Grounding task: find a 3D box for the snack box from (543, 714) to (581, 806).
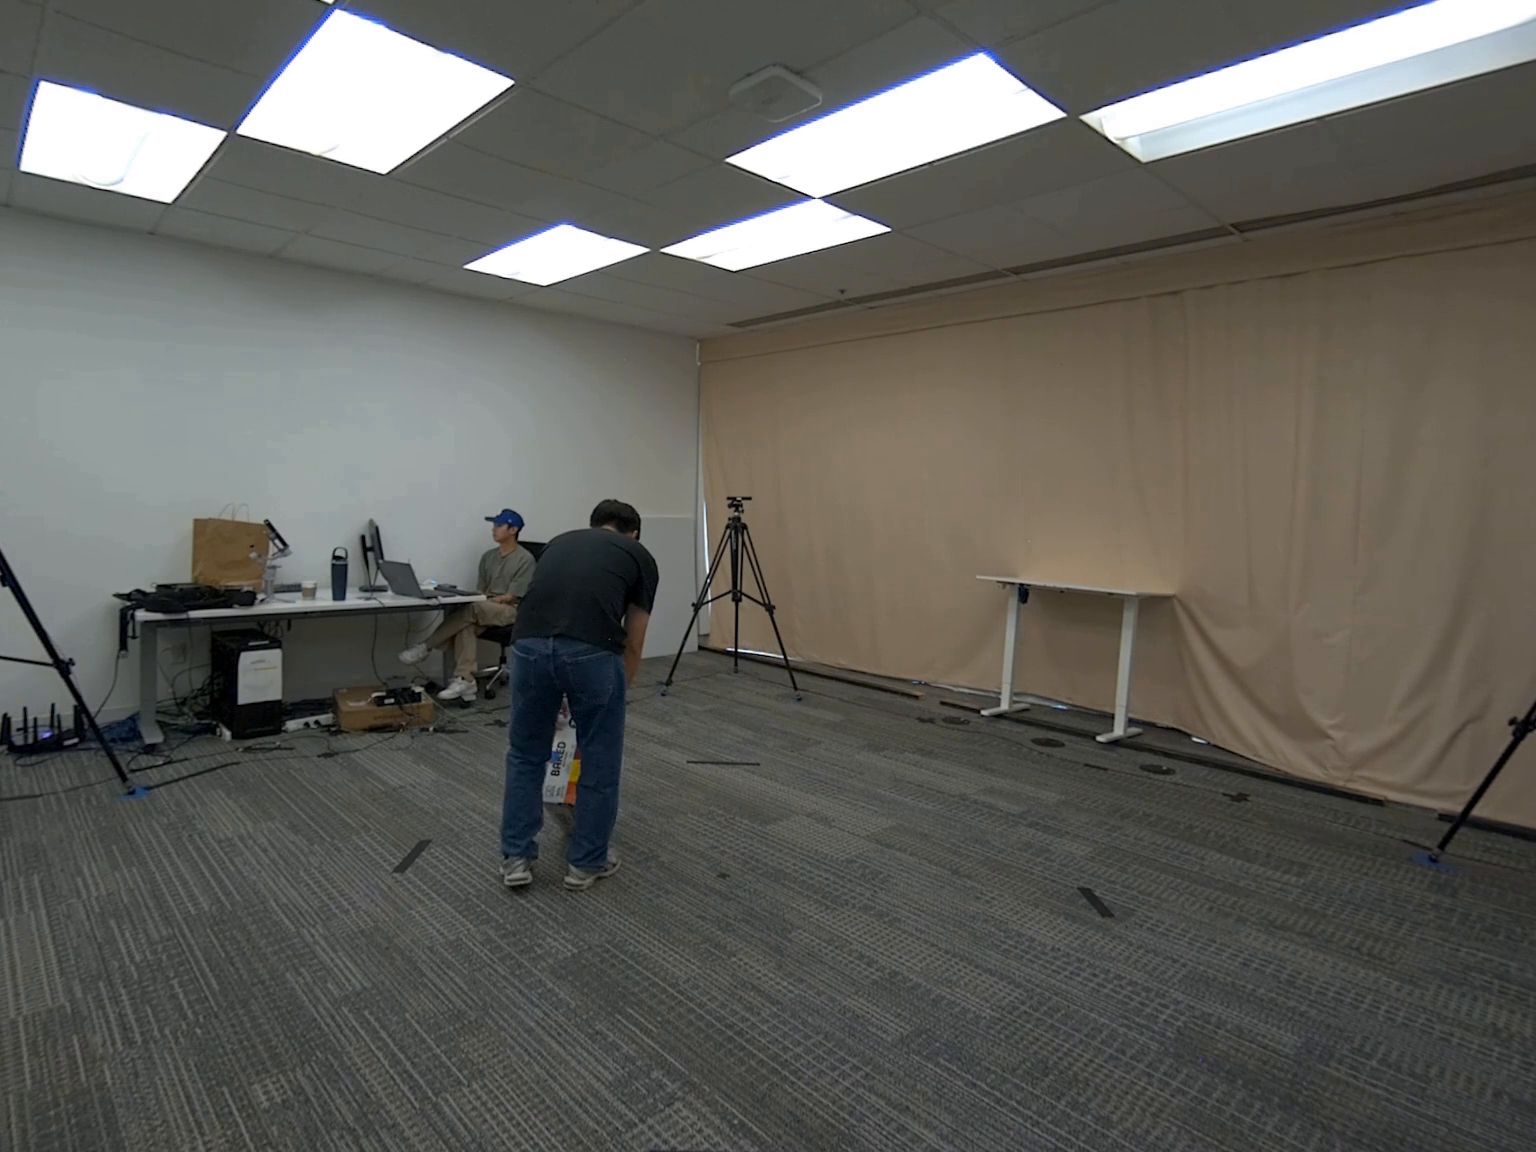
[{"bbox_3d":[-0.741,0.810,3.371,0.207,0.346,0.396,4,-32,5],"label":"snack box"}]
